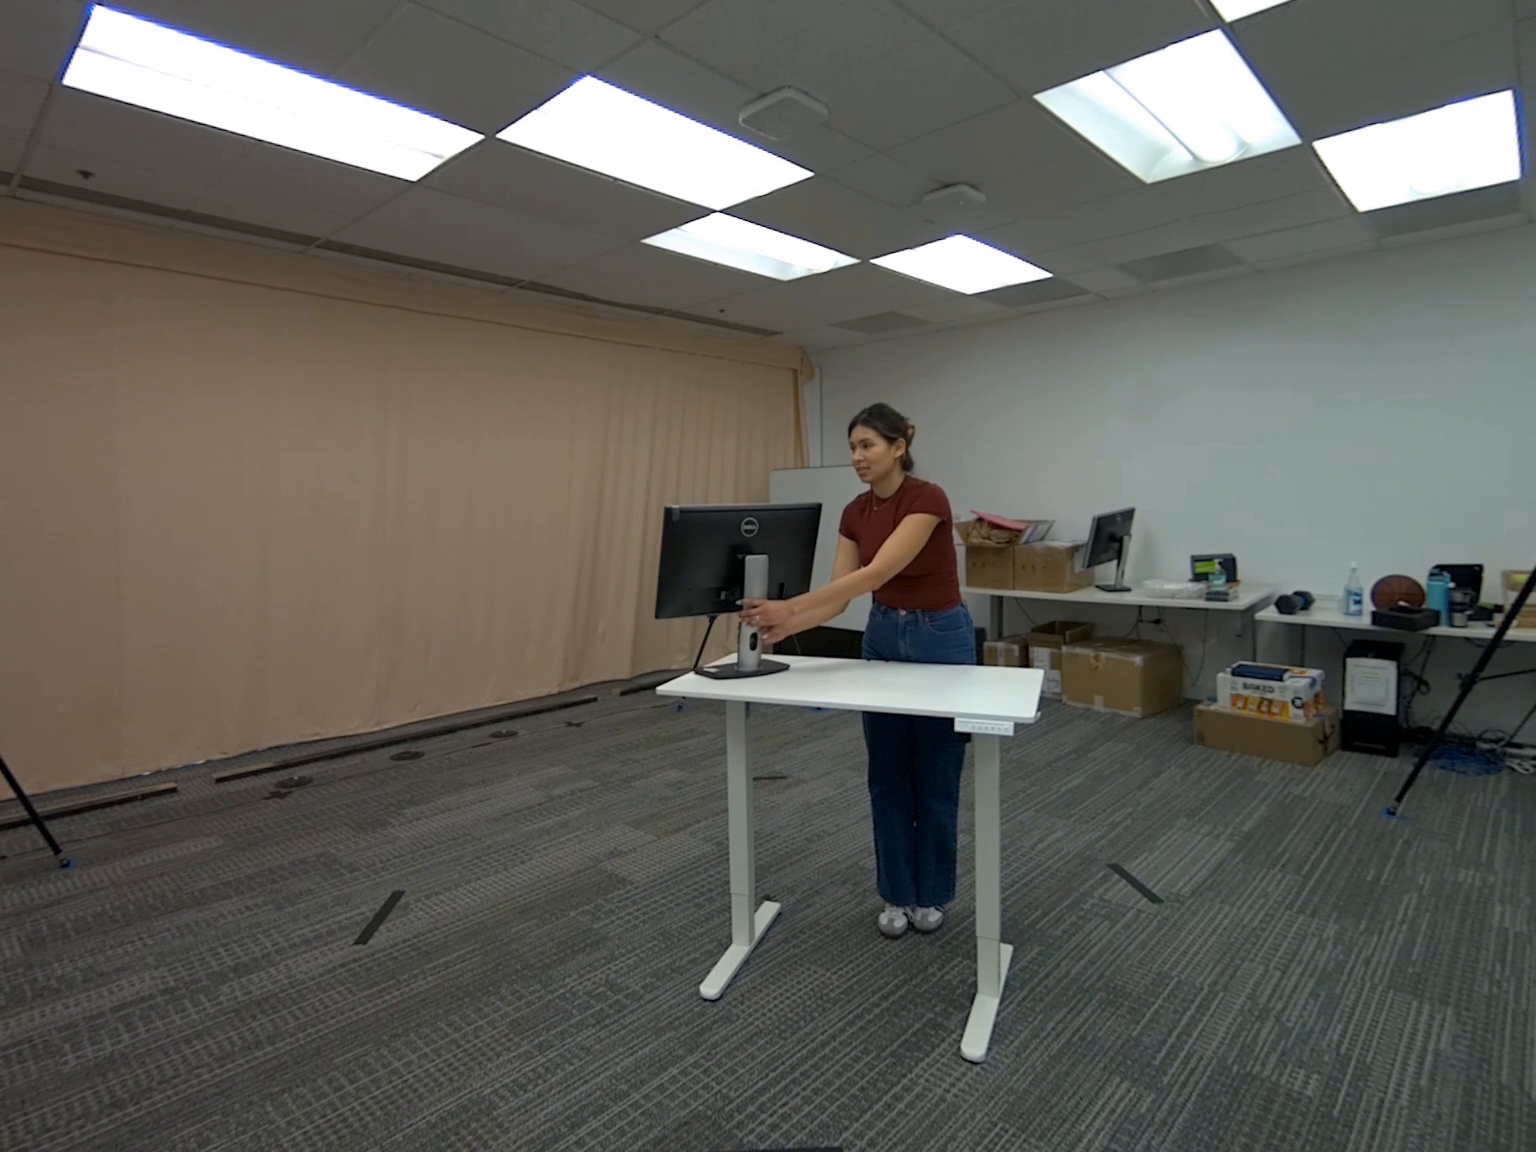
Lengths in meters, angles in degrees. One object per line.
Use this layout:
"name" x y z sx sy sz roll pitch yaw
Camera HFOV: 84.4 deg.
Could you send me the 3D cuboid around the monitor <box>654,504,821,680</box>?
"monitor" -0.069 0.043 2.572 0.525 0.521 0.192 -3 6 -28
